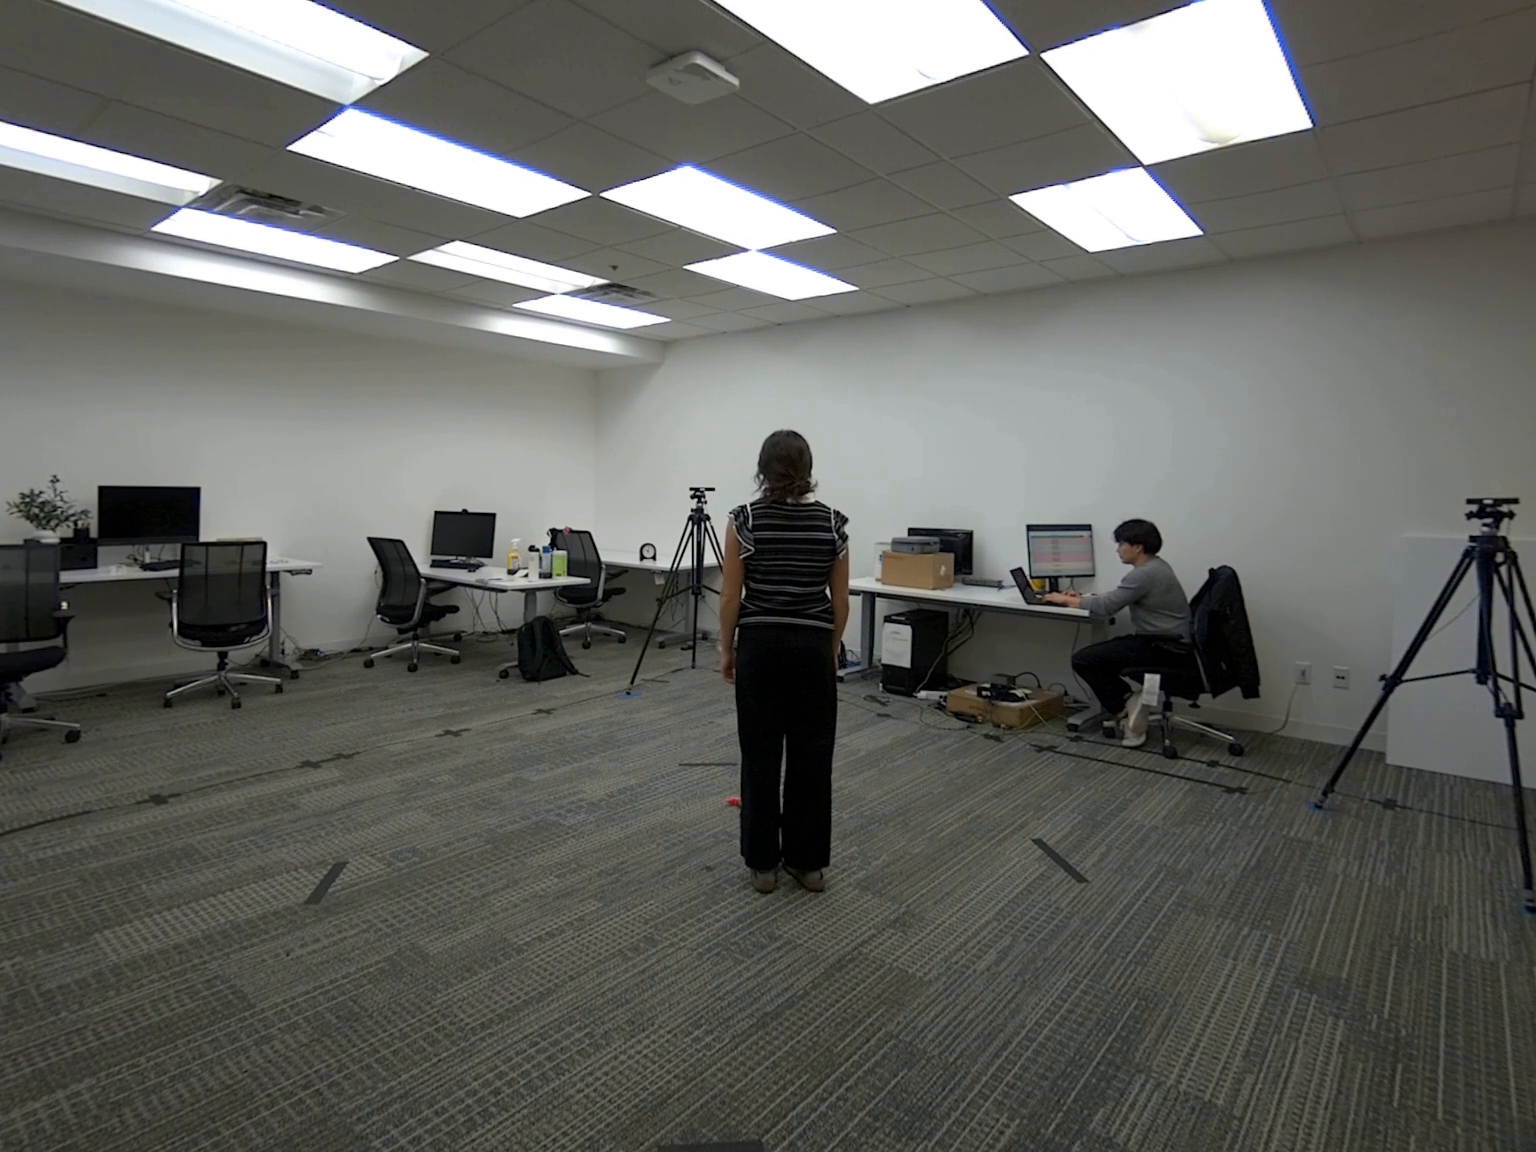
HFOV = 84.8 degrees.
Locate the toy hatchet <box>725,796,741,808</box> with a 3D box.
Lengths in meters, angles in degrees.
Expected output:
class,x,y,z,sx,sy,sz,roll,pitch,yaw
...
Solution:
class,x,y,z,sx,sy,sz,roll,pitch,yaw
toy hatchet,-0.069,0.994,3.670,0.127,0.029,0.280,1,6,-40
